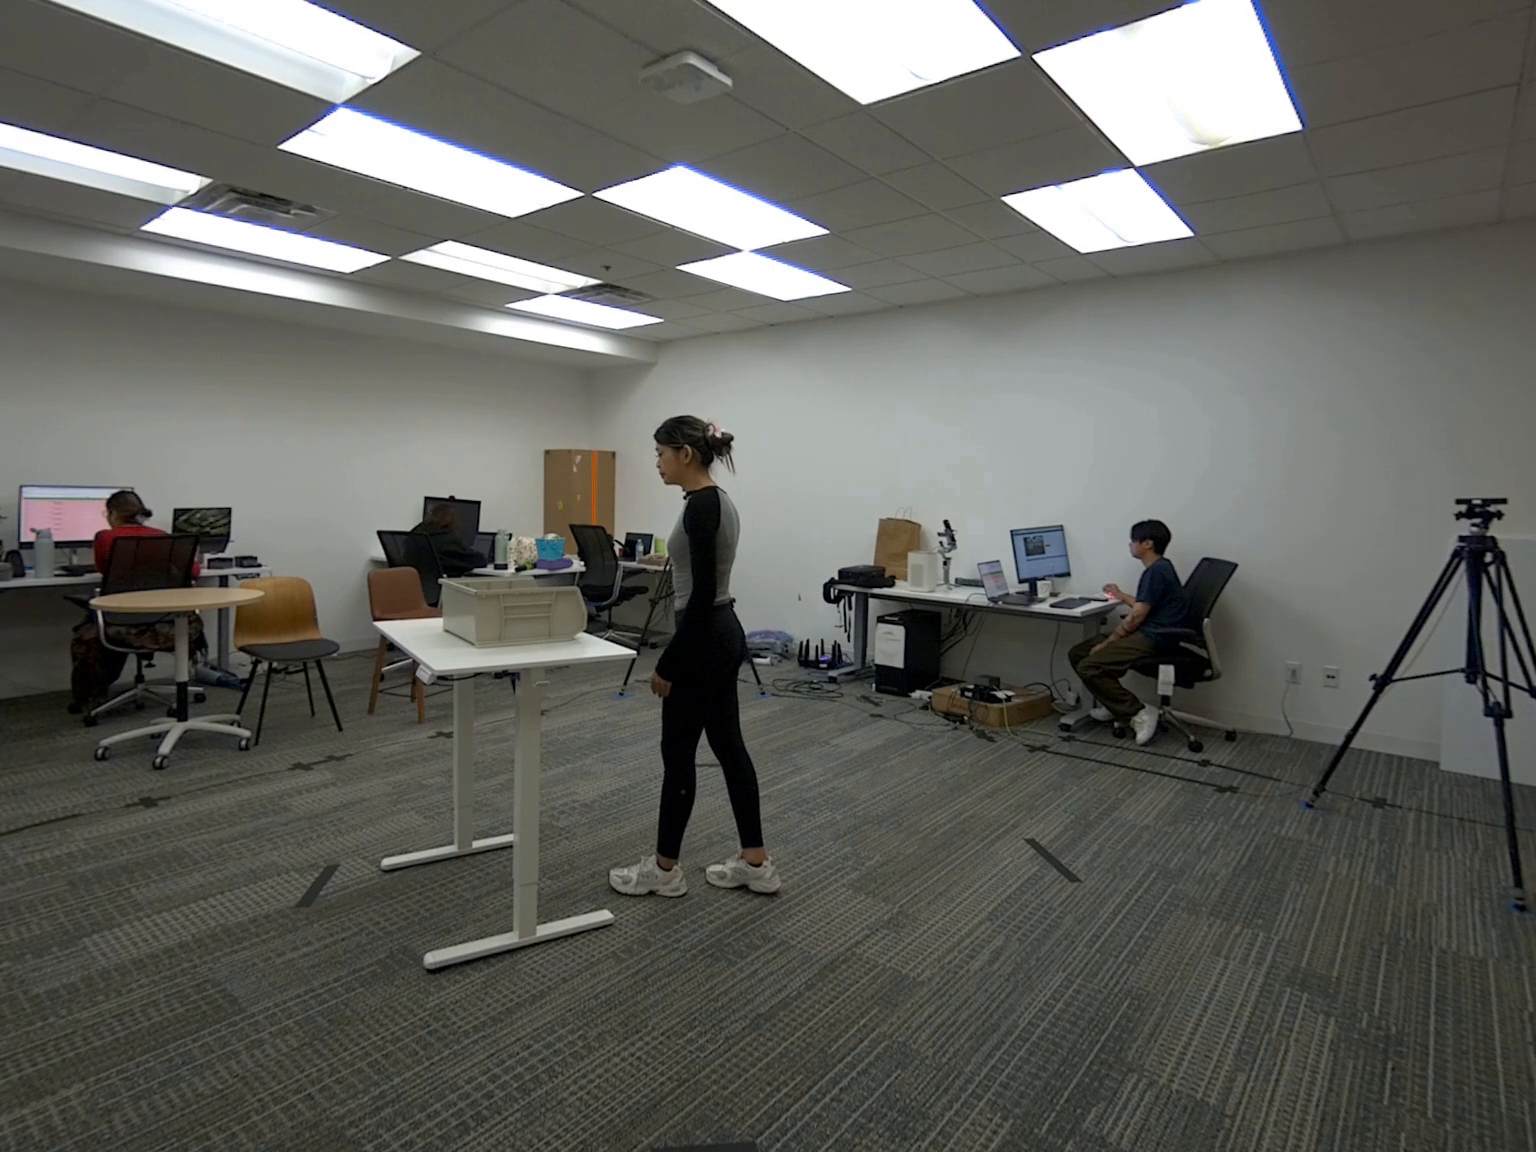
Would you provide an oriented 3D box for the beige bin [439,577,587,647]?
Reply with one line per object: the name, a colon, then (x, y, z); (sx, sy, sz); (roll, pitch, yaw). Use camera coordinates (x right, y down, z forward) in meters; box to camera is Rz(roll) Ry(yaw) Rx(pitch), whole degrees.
beige bin: (-0.882, 0.111, 2.877); (0.367, 0.188, 0.436); (-3, 7, -34)
